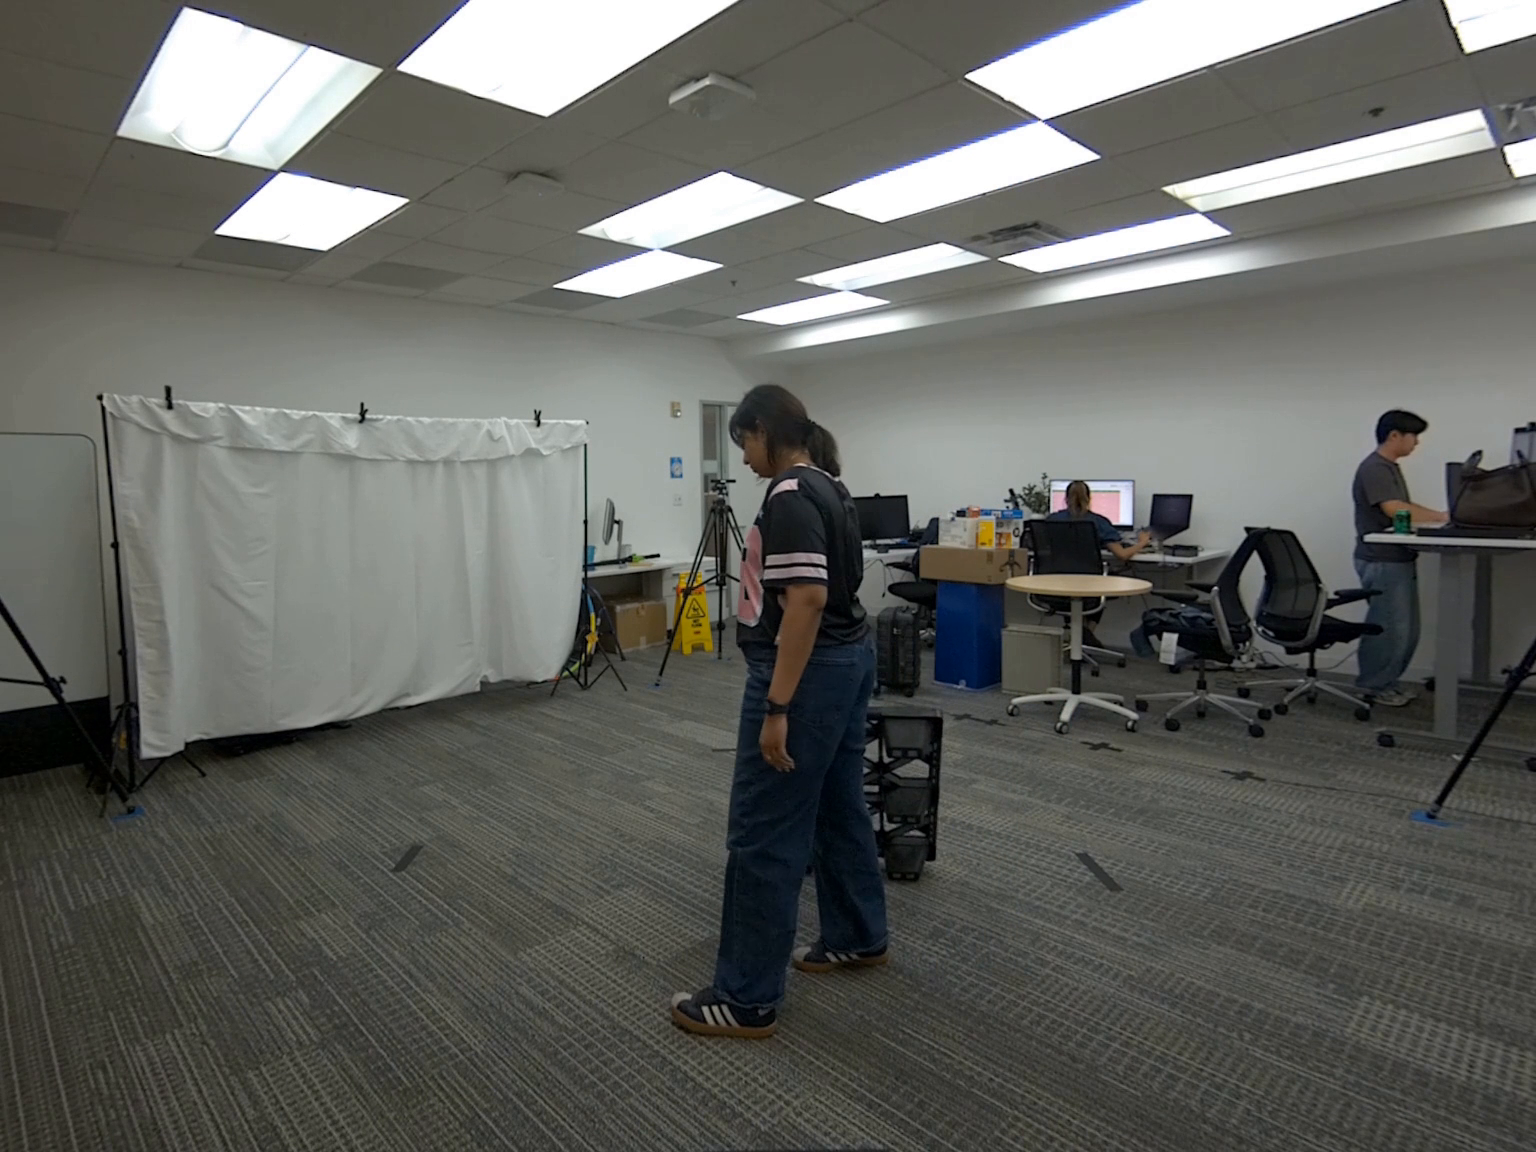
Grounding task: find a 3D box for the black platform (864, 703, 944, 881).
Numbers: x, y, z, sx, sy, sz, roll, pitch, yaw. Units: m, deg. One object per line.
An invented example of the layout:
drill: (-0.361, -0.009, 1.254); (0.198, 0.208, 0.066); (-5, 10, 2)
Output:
black platform: (0.264, 0.737, 2.818); (0.612, 0.782, 0.146); (1, 38, 11)
